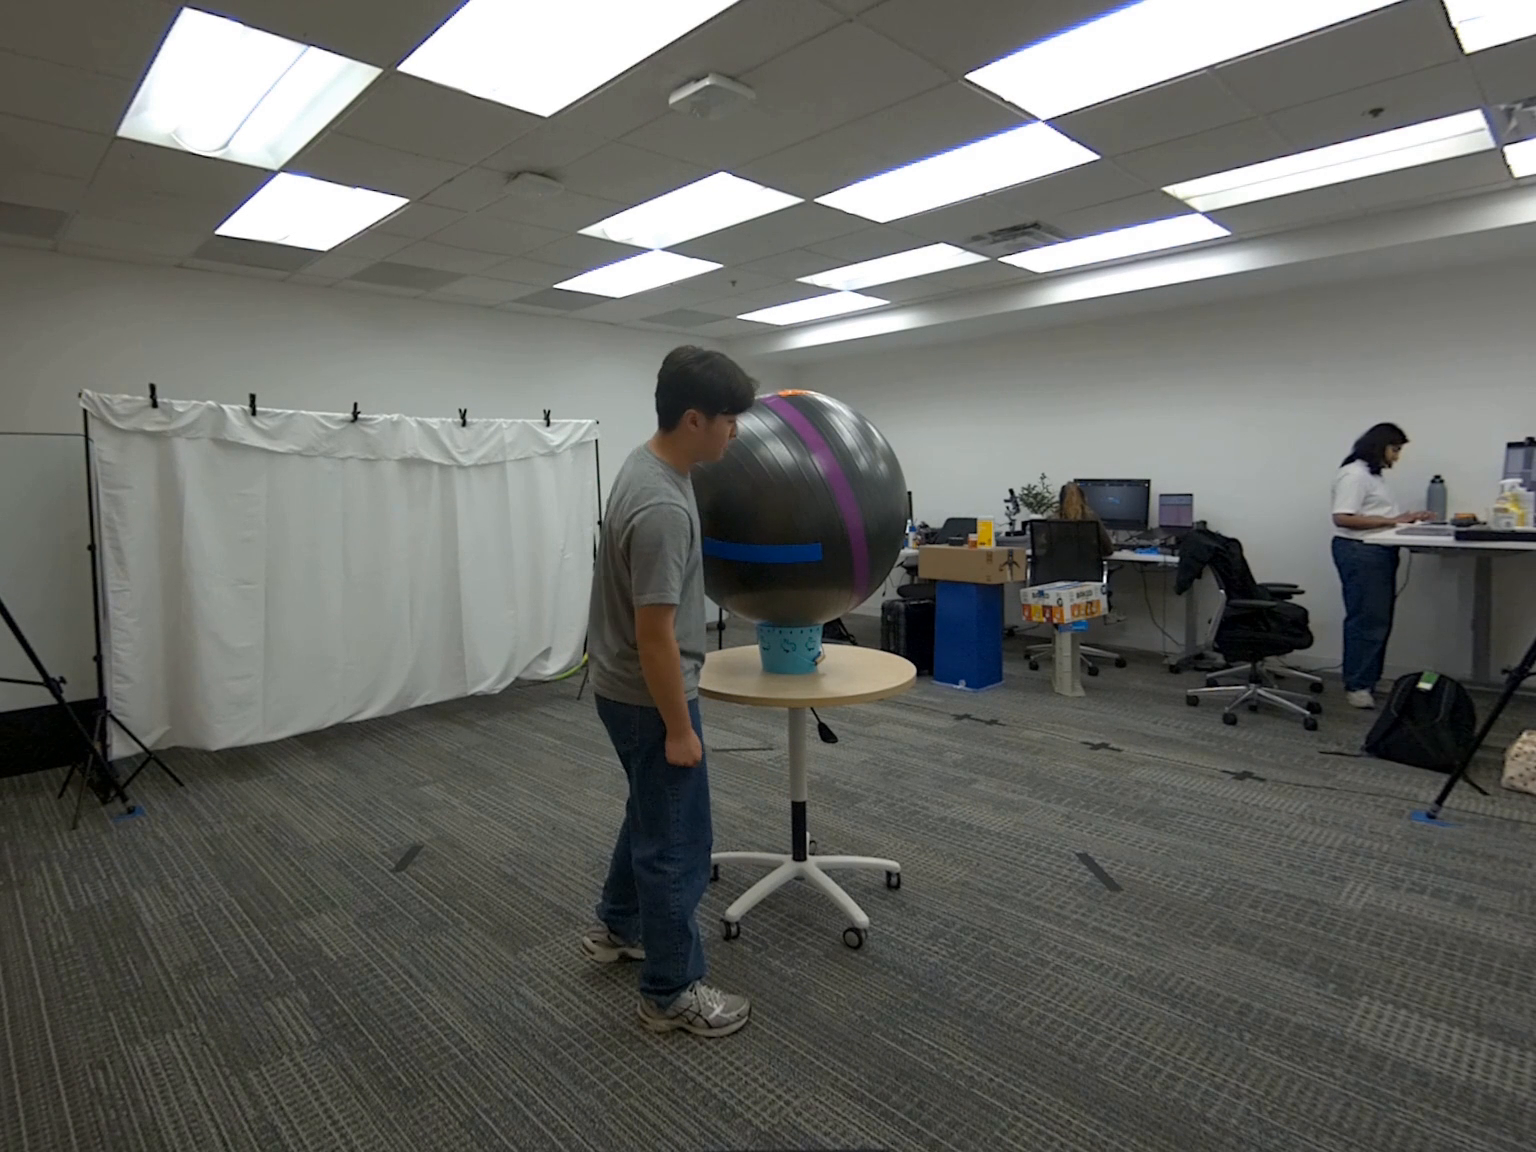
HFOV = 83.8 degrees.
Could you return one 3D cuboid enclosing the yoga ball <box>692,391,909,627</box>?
[{"bbox_3d":[0.066,-0.210,2.743,0.757,0.755,0.762,-1,5,-2],"label":"yoga ball"}]
